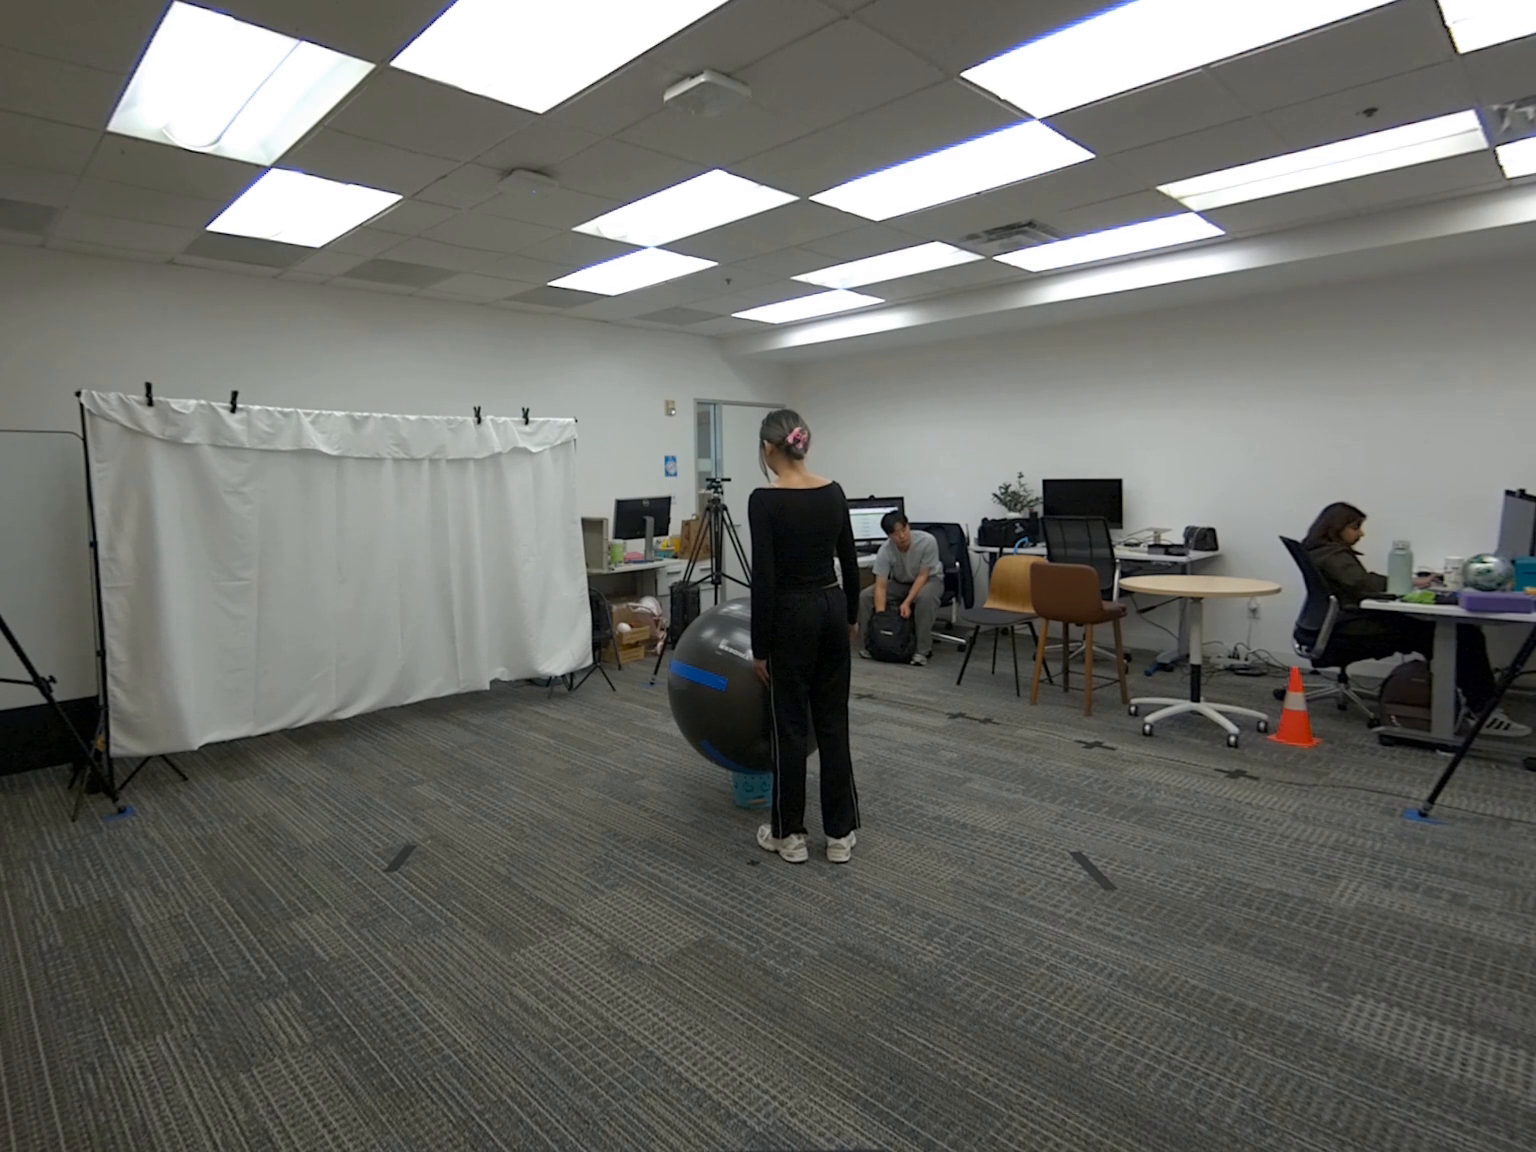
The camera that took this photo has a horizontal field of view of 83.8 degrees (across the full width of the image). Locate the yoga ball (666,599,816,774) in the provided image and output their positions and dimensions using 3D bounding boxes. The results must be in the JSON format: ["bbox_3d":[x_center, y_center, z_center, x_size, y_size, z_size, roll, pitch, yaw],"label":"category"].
[{"bbox_3d":[-0.058,0.468,3.692,0.757,0.755,0.762,-1,5,-2],"label":"yoga ball"}]
